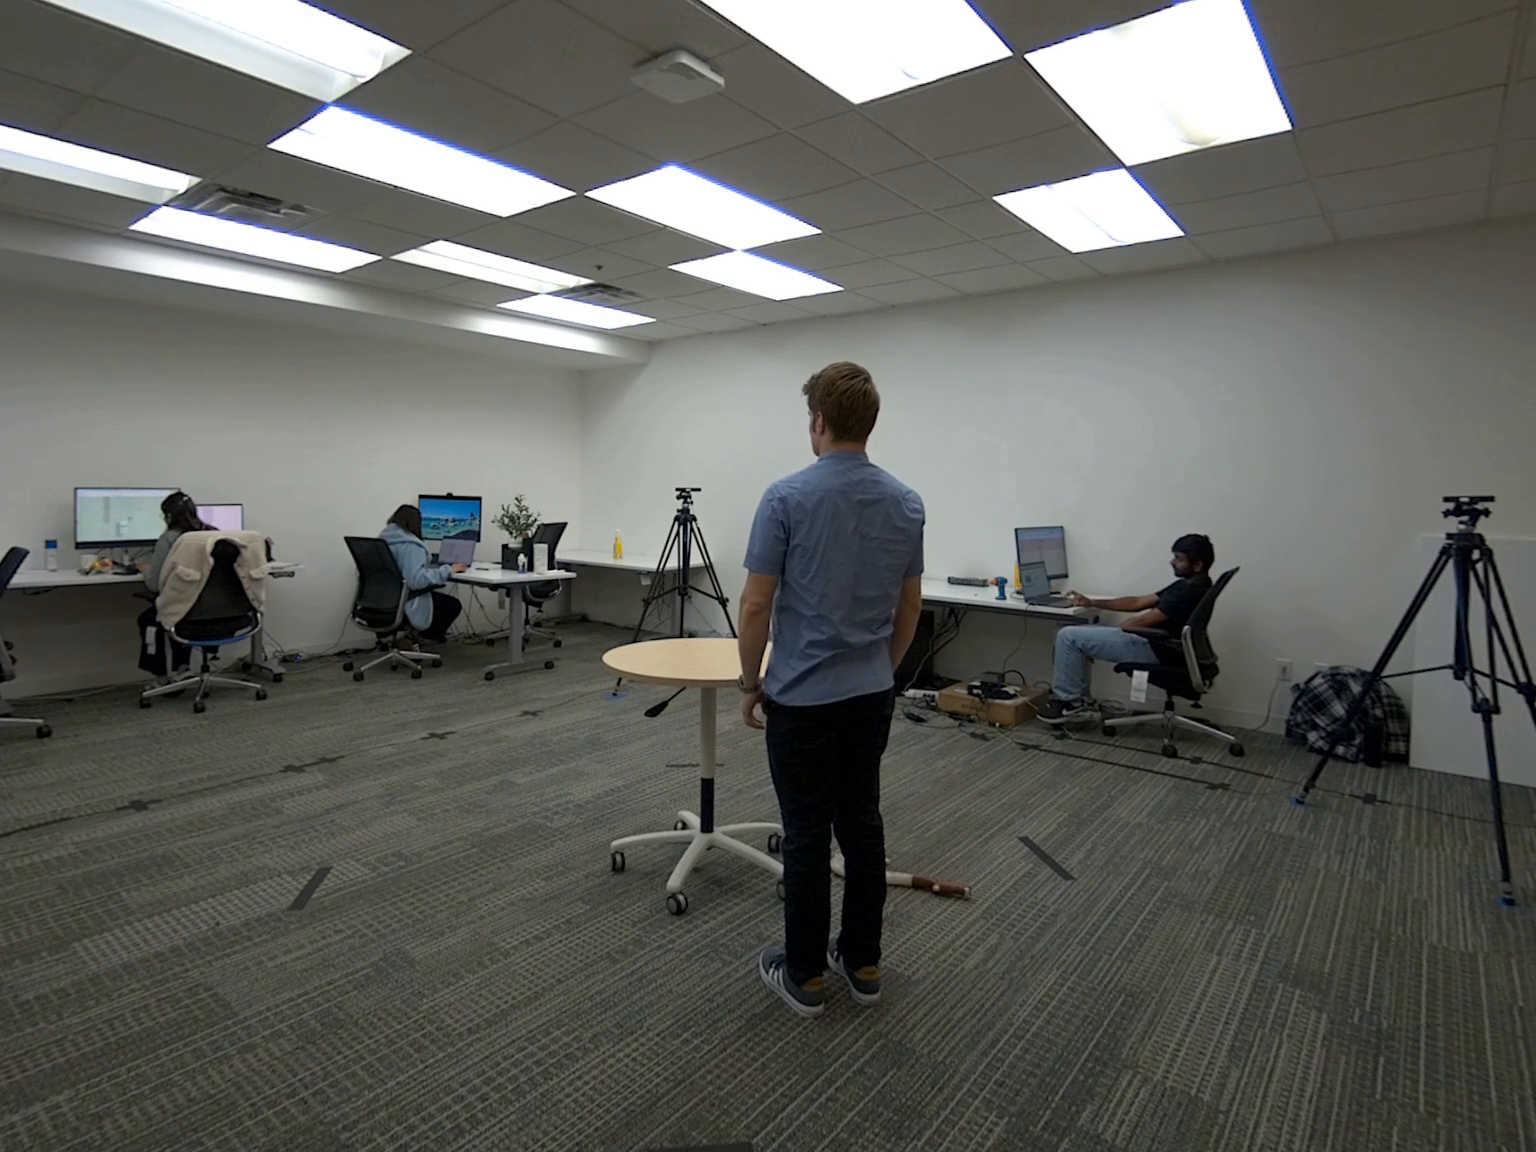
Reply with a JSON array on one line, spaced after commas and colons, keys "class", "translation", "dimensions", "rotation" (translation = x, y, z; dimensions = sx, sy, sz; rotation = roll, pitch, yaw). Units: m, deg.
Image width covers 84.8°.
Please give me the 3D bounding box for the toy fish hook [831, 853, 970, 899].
[{"class": "toy fish hook", "translation": [0.464, 1.062, 3.070], "dimensions": [0.519, 0.048, 0.220], "rotation": [4, 6, 22]}]
